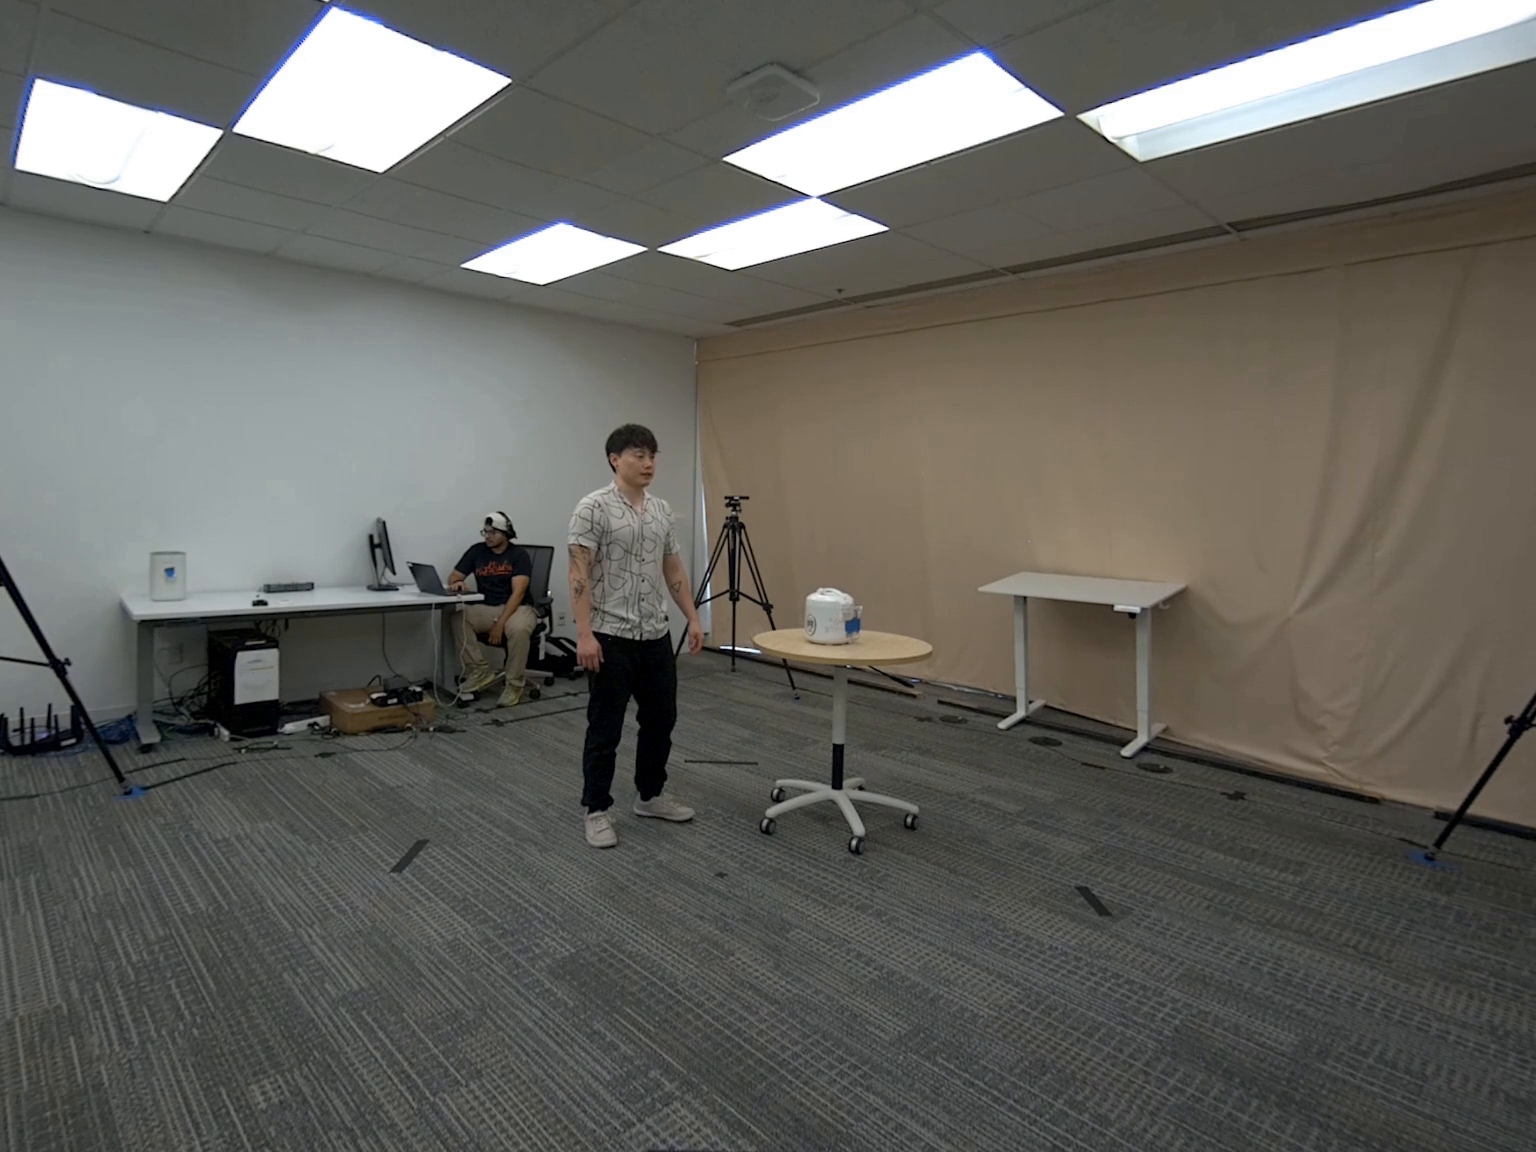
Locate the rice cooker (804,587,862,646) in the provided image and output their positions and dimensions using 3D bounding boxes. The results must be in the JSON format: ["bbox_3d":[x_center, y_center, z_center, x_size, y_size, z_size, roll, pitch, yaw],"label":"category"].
[{"bbox_3d":[0.254,0.169,3.629,0.212,0.232,0.226,0,3,-38],"label":"rice cooker"}]
